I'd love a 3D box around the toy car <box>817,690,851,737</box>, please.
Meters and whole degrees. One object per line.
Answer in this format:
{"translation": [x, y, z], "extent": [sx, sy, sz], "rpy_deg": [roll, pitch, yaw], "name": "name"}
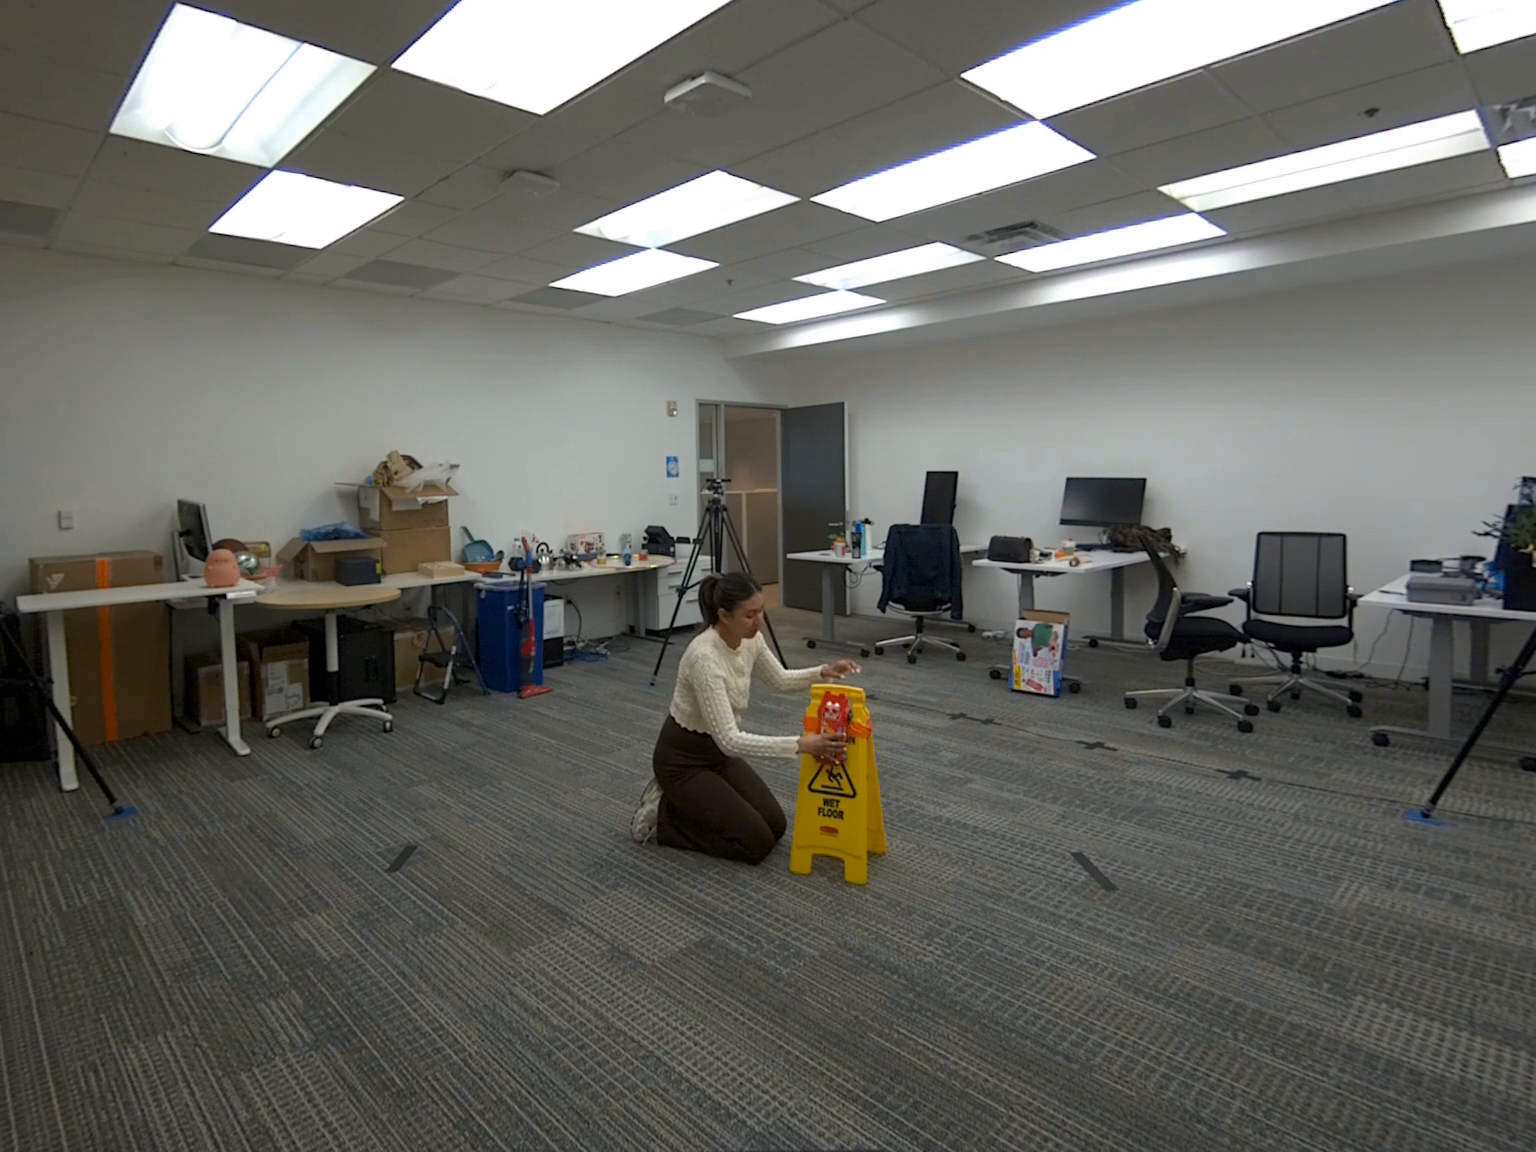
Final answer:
{"translation": [0.219, 0.532, 3.010], "extent": [0.133, 0.253, 0.082], "rpy_deg": [8, 6, 22], "name": "toy car"}
